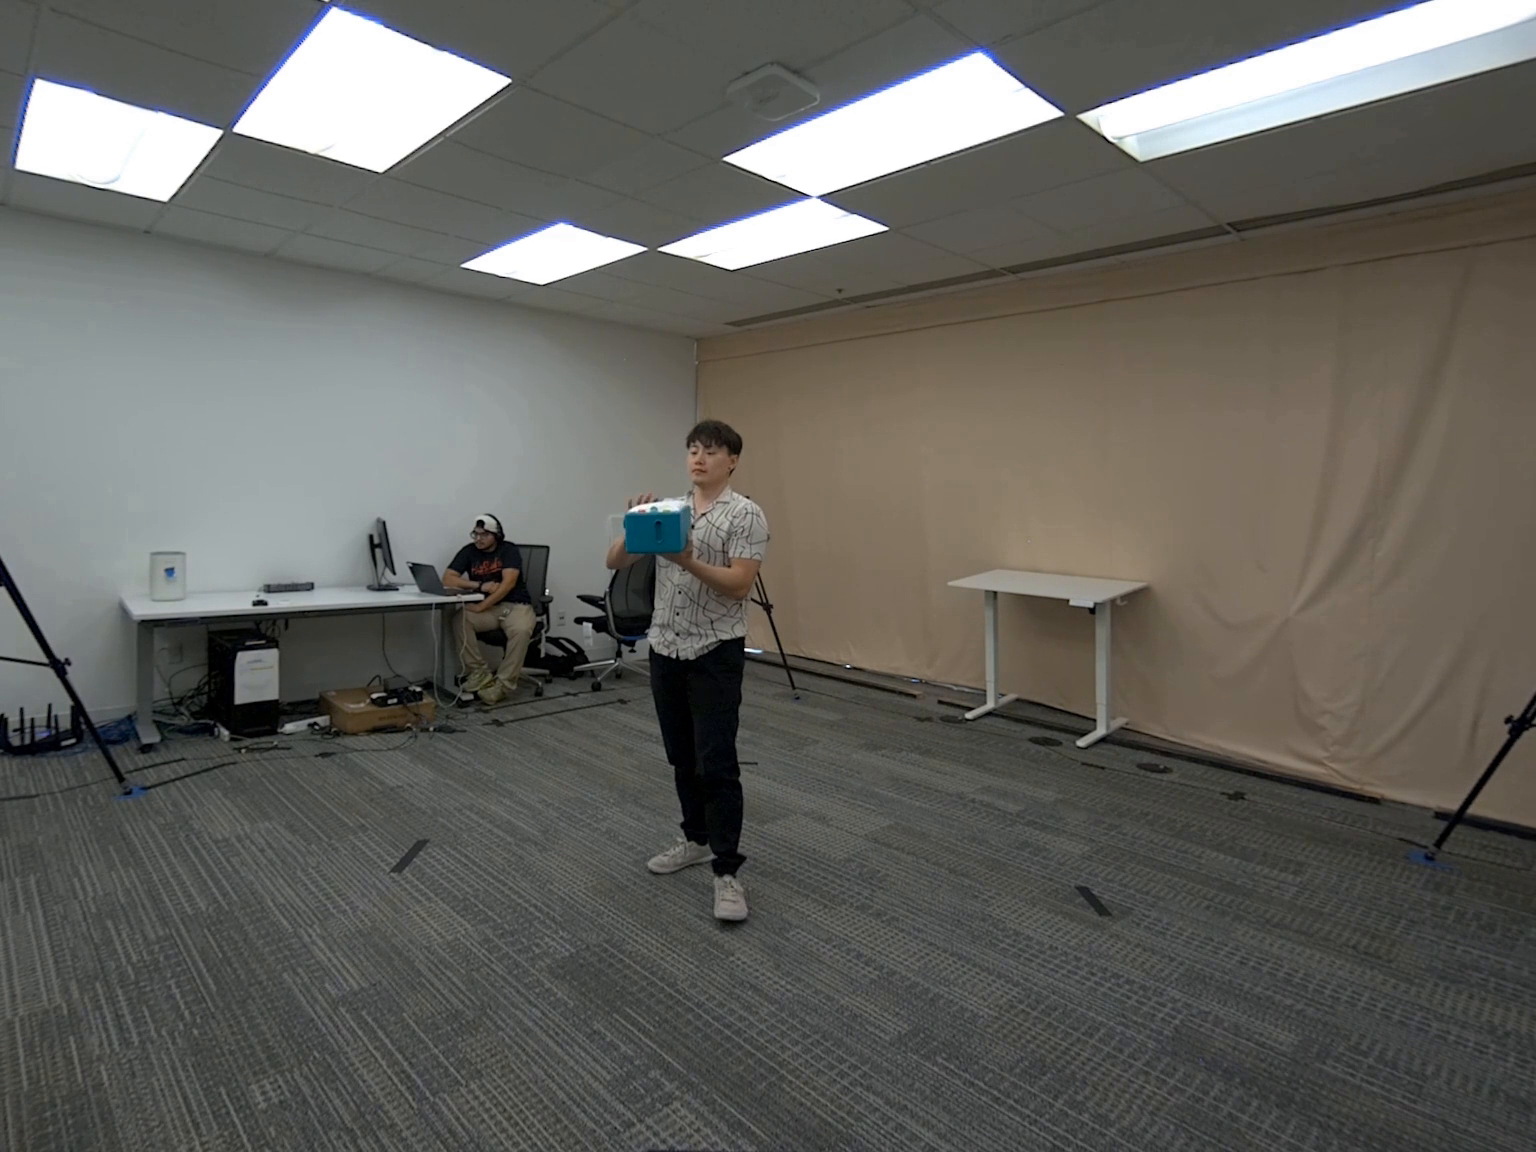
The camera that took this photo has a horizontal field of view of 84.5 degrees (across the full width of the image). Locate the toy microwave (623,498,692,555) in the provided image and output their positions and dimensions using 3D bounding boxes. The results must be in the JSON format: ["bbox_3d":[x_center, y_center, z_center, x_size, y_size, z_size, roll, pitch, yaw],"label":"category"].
[{"bbox_3d":[-0.373,-0.166,2.740,0.184,0.151,0.287,0,8,2],"label":"toy microwave"}]
